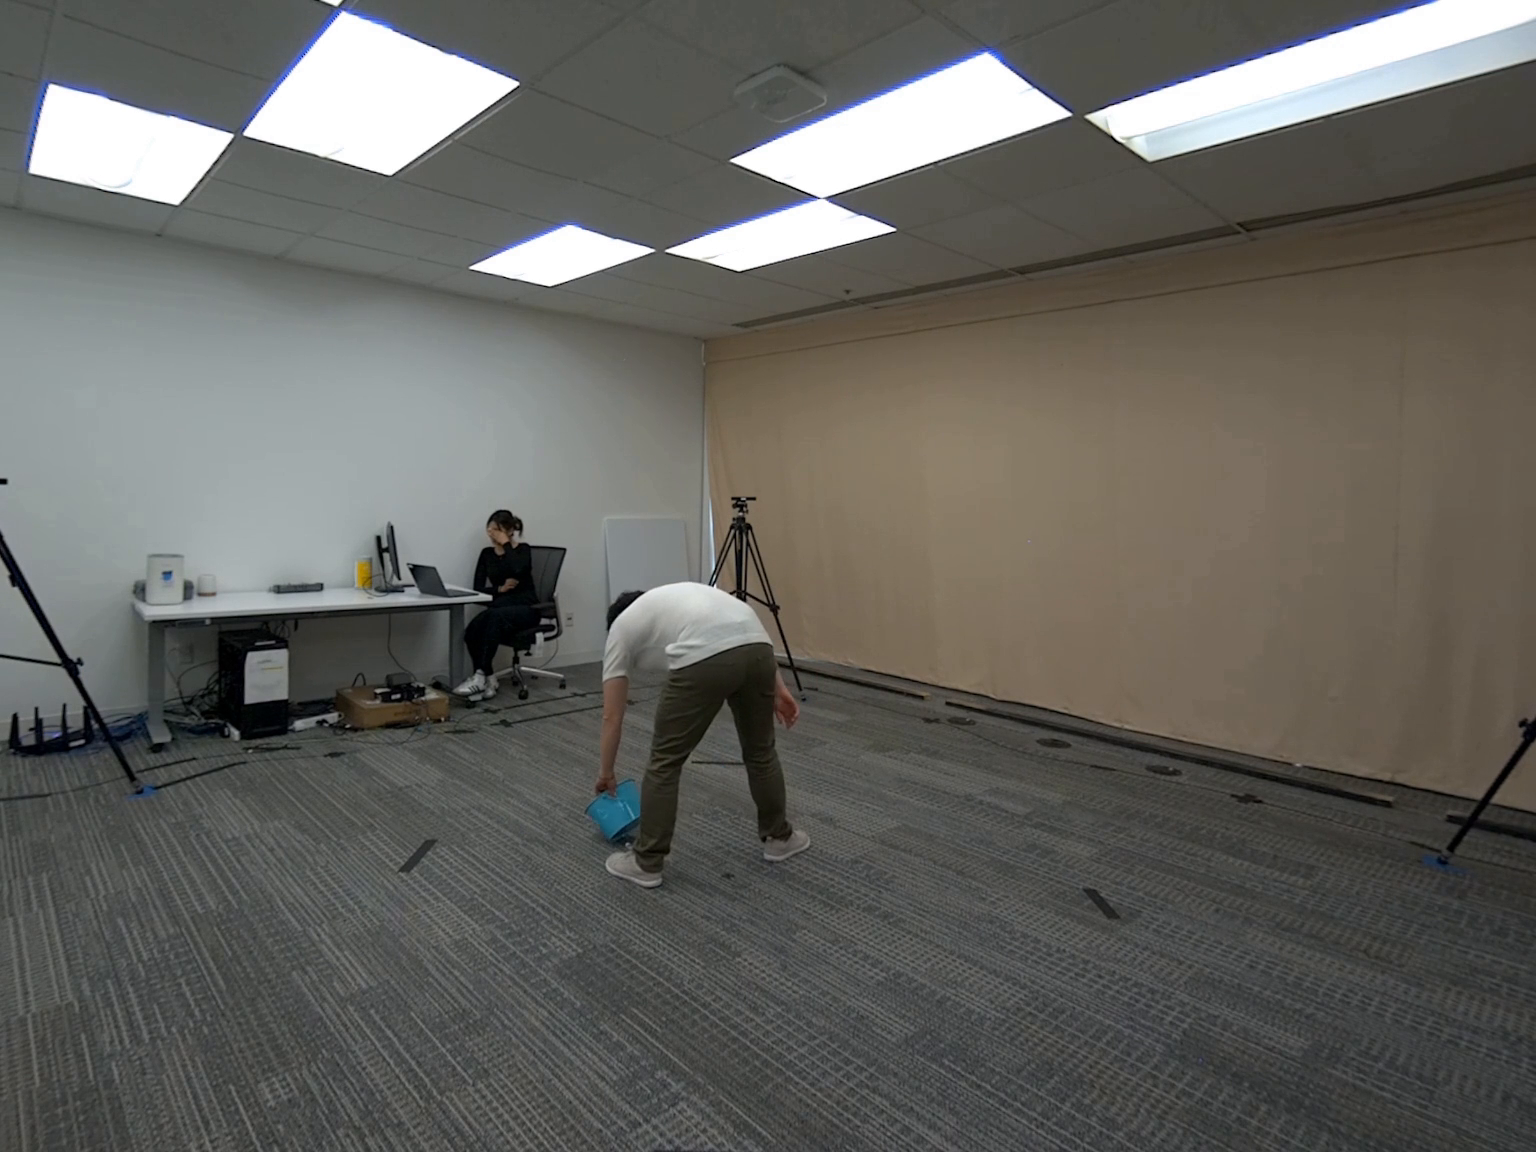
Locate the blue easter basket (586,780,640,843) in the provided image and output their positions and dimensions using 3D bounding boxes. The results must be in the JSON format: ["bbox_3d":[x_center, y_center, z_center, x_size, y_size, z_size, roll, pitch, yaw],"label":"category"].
[{"bbox_3d":[-0.610,0.956,3.403,0.242,0.159,0.239,-32,-20,-15],"label":"blue easter basket"}]
